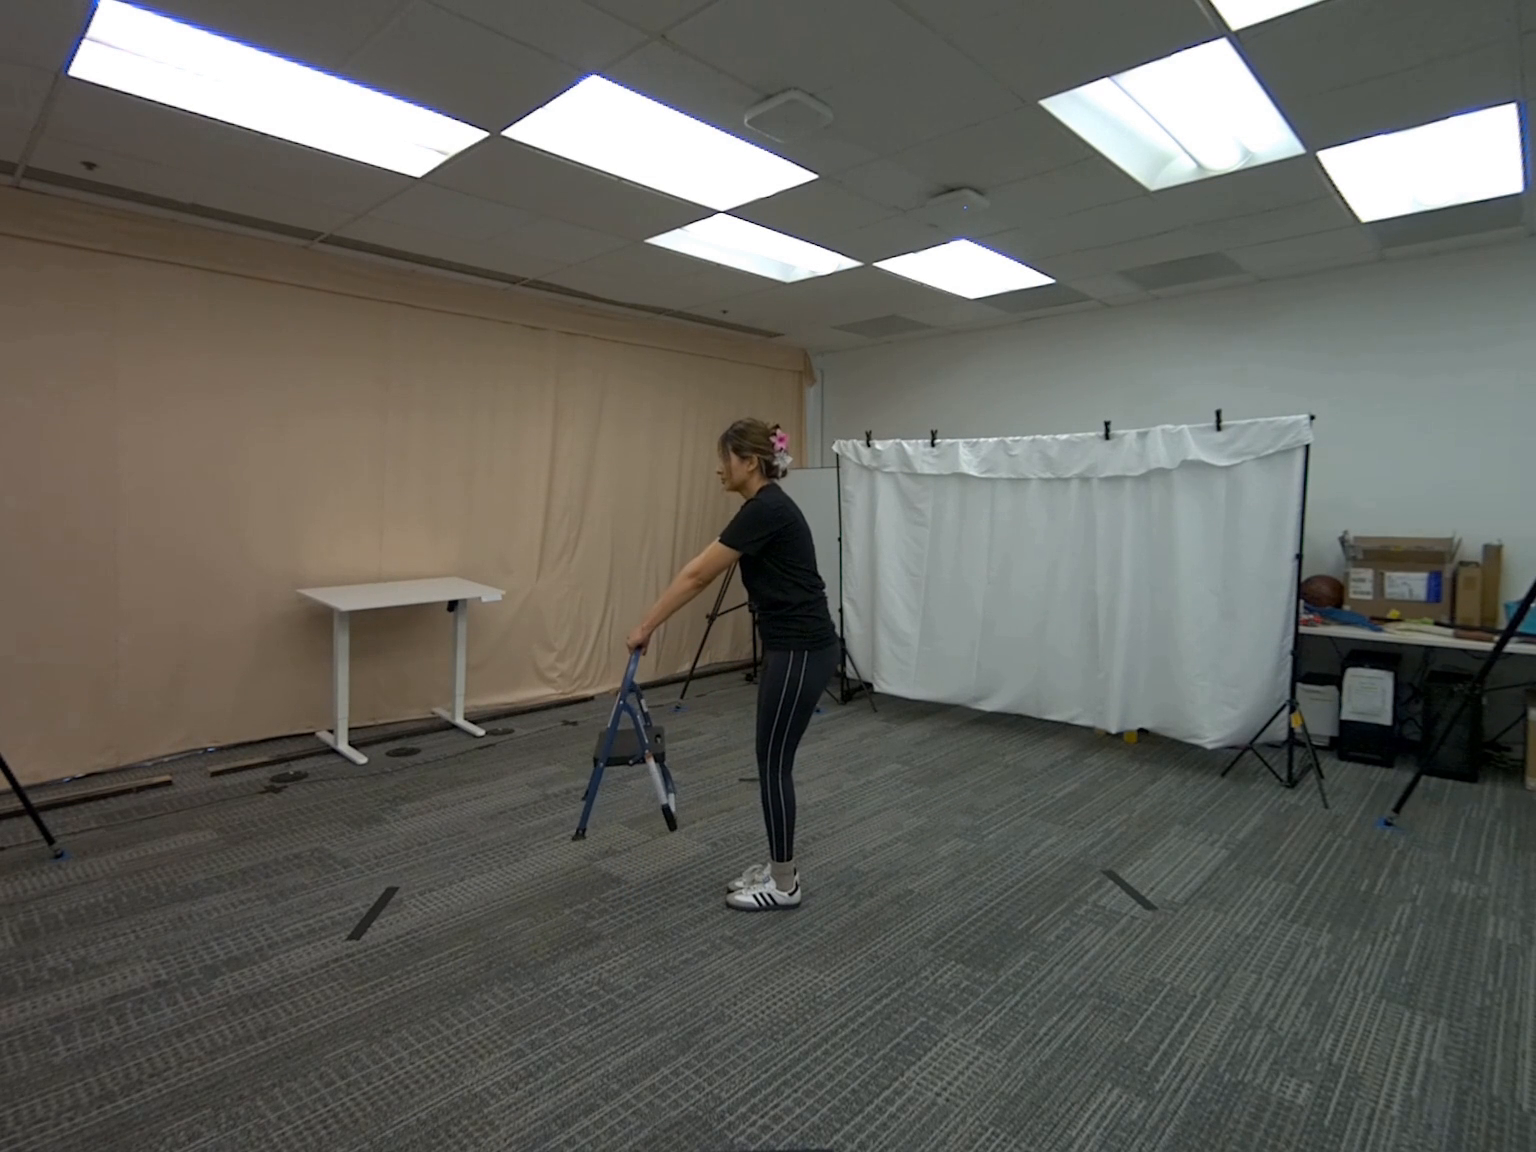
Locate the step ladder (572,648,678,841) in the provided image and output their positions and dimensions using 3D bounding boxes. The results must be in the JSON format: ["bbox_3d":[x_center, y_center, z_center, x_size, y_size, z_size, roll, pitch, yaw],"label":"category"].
[{"bbox_3d":[-0.509,0.548,2.965,0.347,0.605,0.434,-4,3,-7],"label":"step ladder"}]
